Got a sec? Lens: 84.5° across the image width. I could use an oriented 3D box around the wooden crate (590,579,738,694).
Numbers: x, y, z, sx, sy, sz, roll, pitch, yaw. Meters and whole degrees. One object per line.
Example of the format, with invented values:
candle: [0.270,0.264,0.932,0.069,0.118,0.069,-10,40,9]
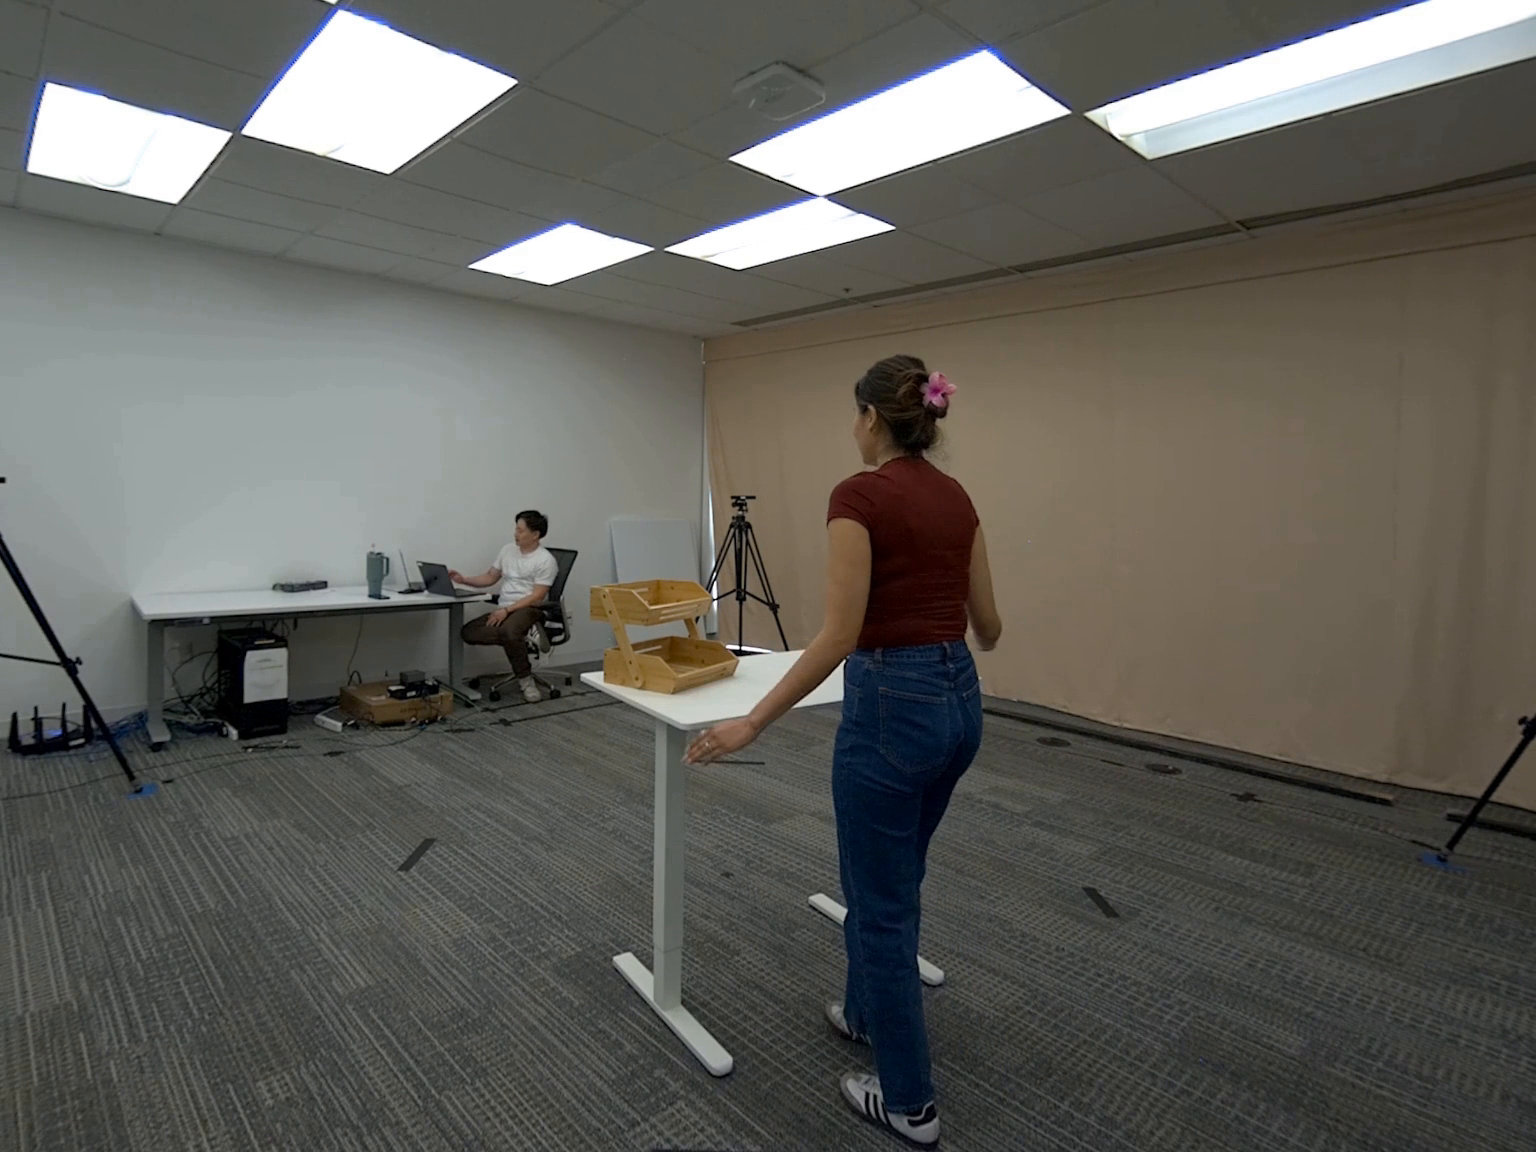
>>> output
wooden crate: [-0.289,0.160,2.346,0.309,0.272,0.318,4,5,31]
